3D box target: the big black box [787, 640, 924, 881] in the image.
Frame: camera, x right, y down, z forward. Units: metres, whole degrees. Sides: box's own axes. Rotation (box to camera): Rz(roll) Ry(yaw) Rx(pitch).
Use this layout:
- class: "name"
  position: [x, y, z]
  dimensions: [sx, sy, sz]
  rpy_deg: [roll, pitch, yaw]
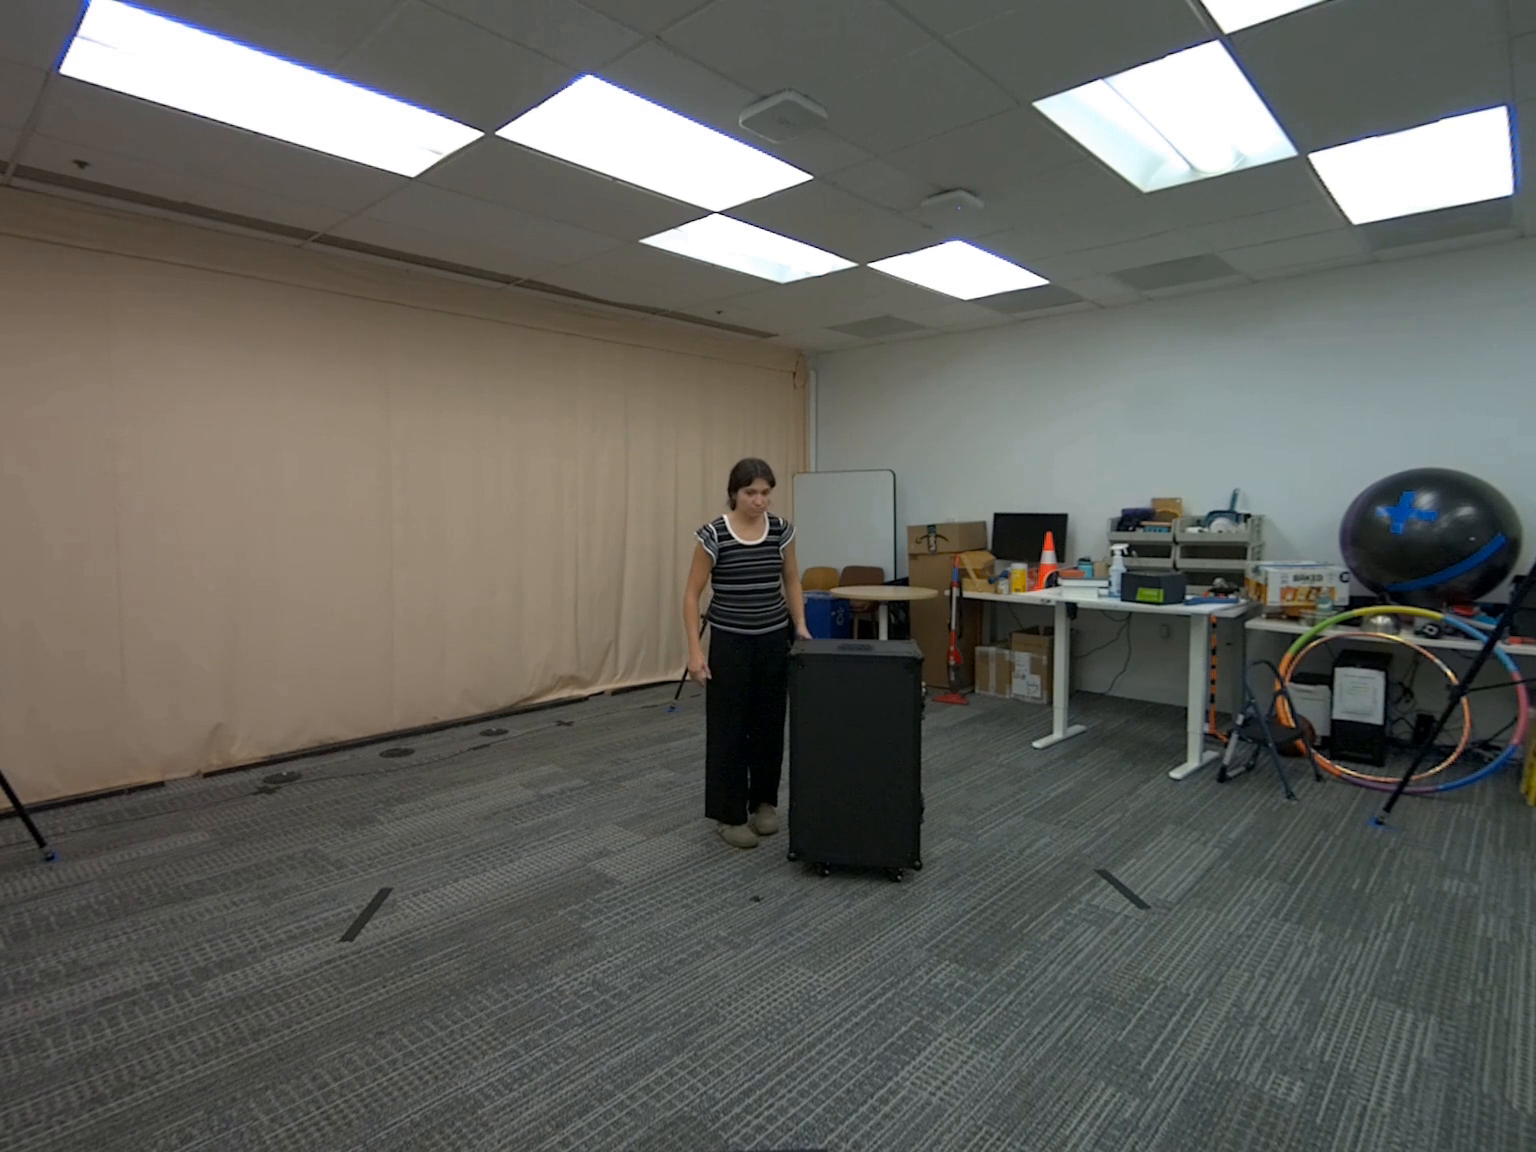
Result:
- class: "big black box"
  position: [0.340, 0.695, 3.254]
  dimensions: [0.527, 0.860, 0.392]
  rpy_deg: [0, 2, 9]
